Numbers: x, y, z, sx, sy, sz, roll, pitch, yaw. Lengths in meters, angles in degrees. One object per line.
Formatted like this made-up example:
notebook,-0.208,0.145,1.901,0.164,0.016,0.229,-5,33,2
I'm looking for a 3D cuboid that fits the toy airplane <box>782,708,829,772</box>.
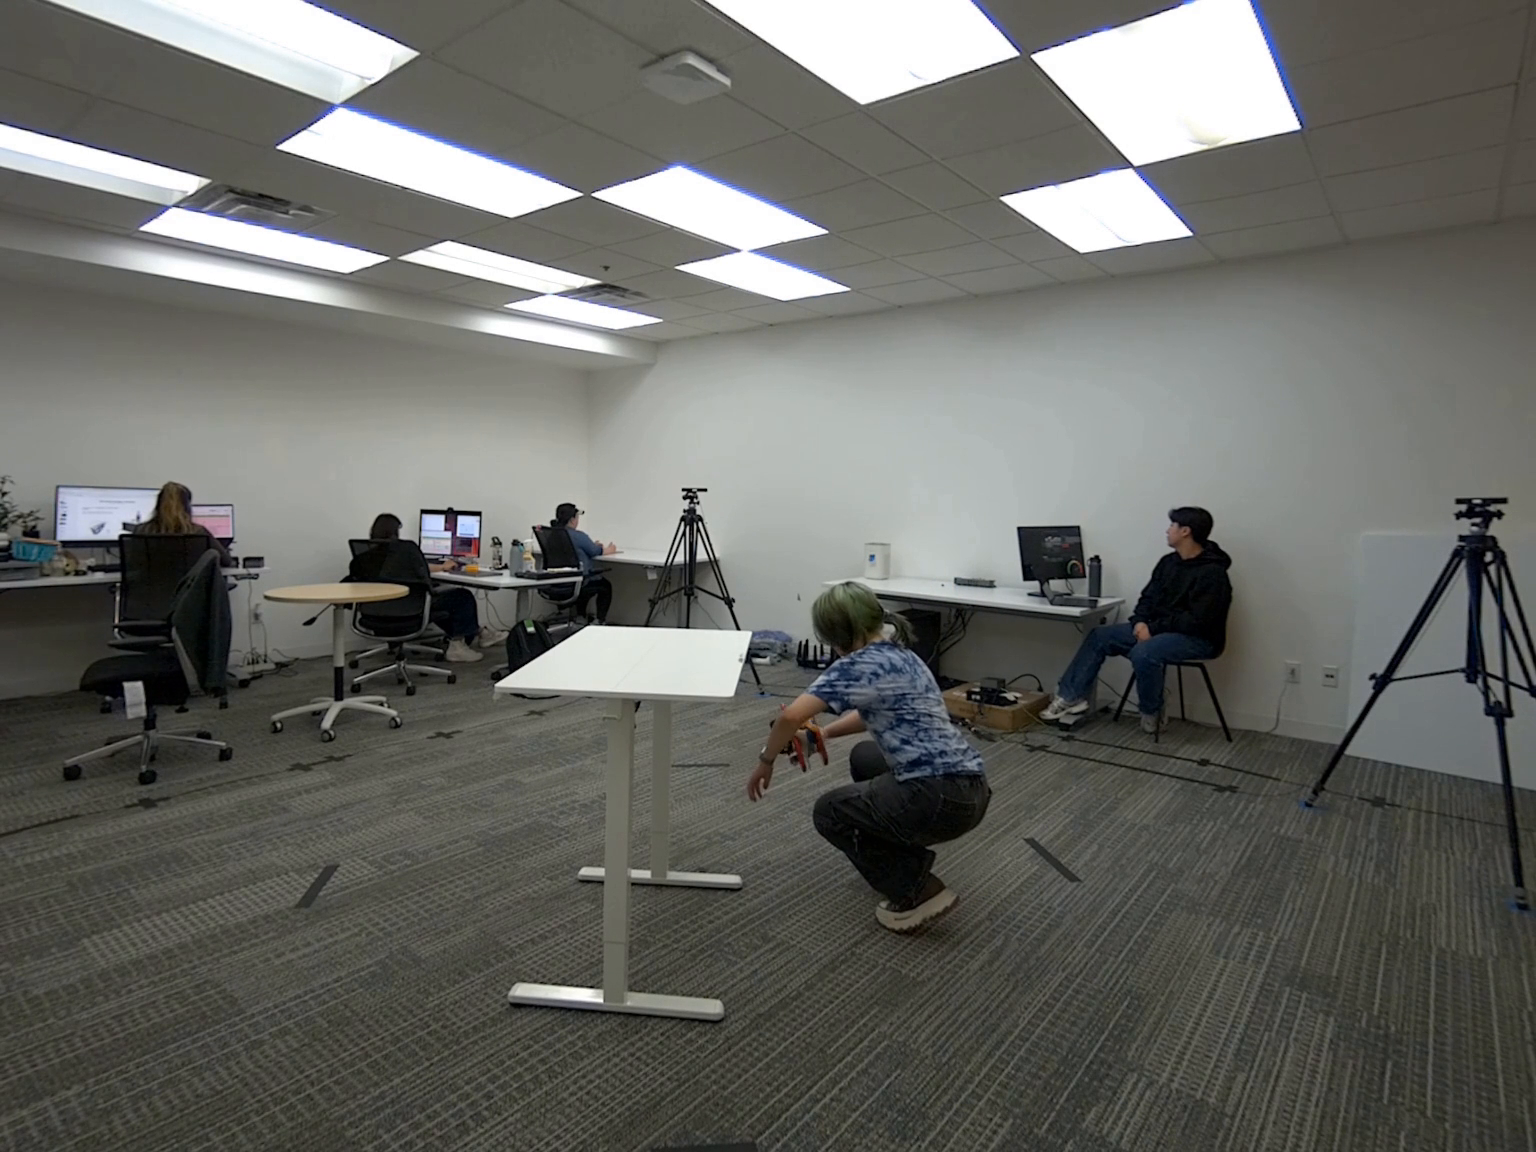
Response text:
toy airplane,0.113,0.566,3.005,0.157,0.256,0.253,-24,-14,5
